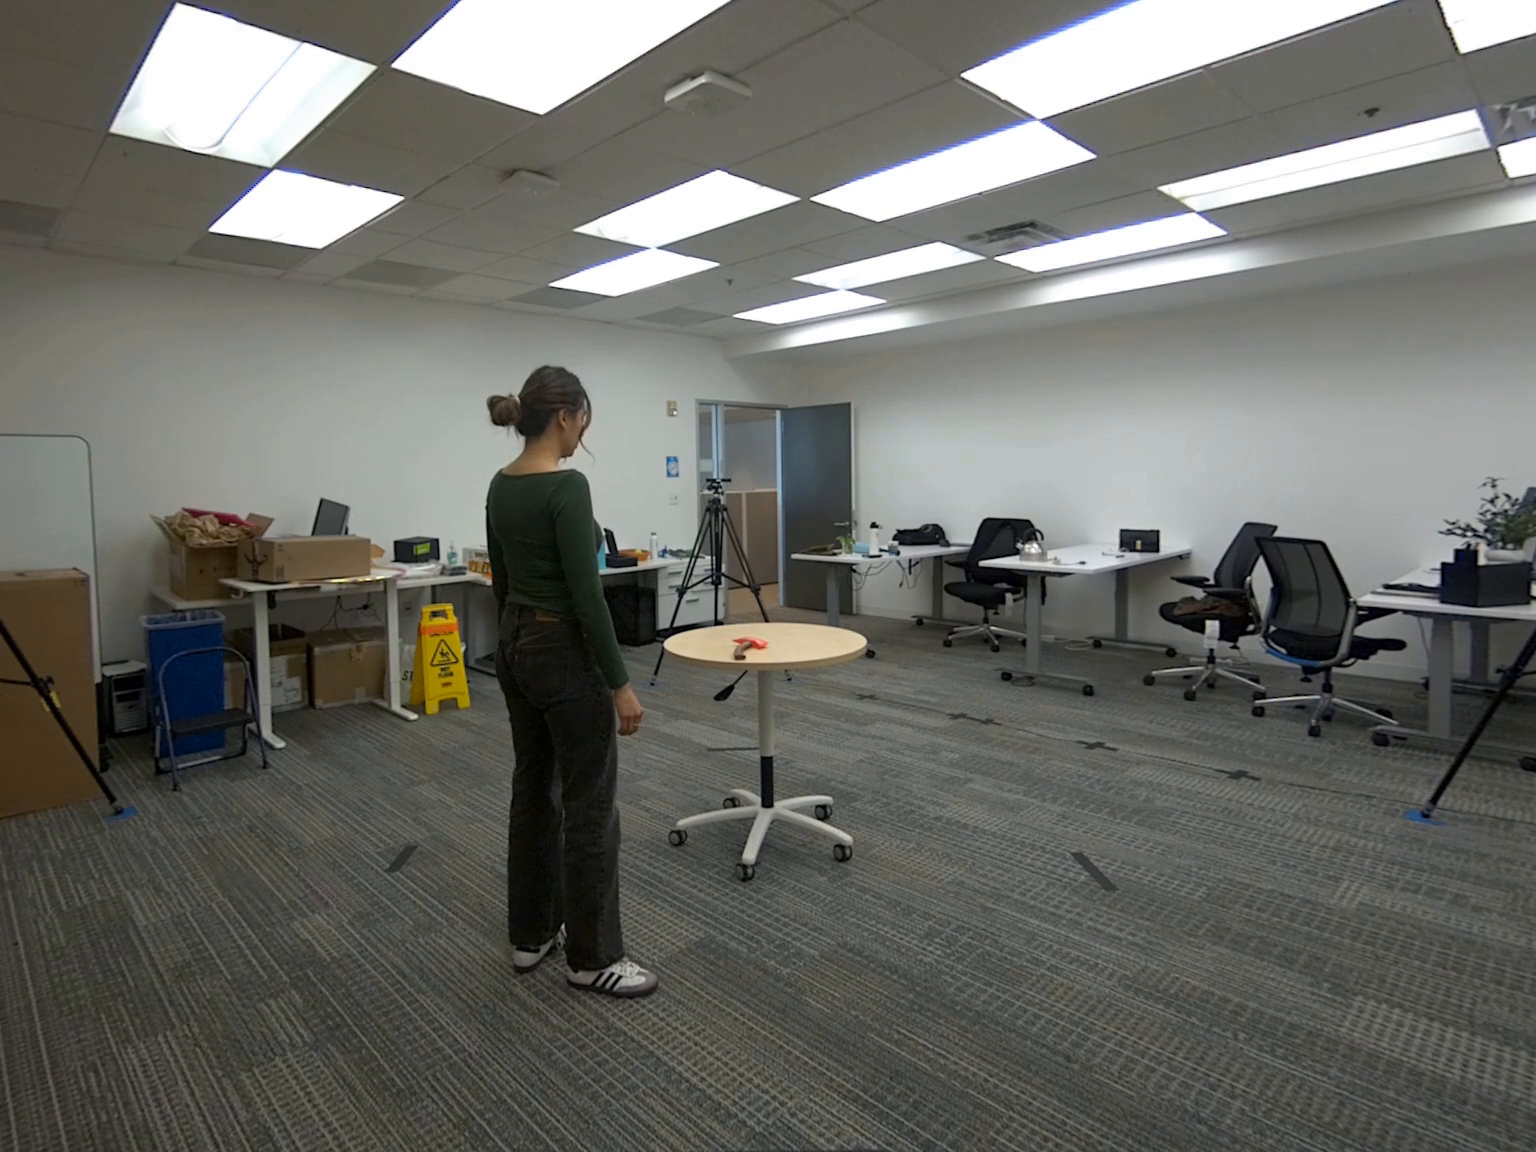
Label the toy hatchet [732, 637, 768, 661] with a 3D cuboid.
[{"bbox_3d":[-0.058,0.260,3.031,0.131,0.029,0.272,1,8,-3],"label":"toy hatchet"}]
